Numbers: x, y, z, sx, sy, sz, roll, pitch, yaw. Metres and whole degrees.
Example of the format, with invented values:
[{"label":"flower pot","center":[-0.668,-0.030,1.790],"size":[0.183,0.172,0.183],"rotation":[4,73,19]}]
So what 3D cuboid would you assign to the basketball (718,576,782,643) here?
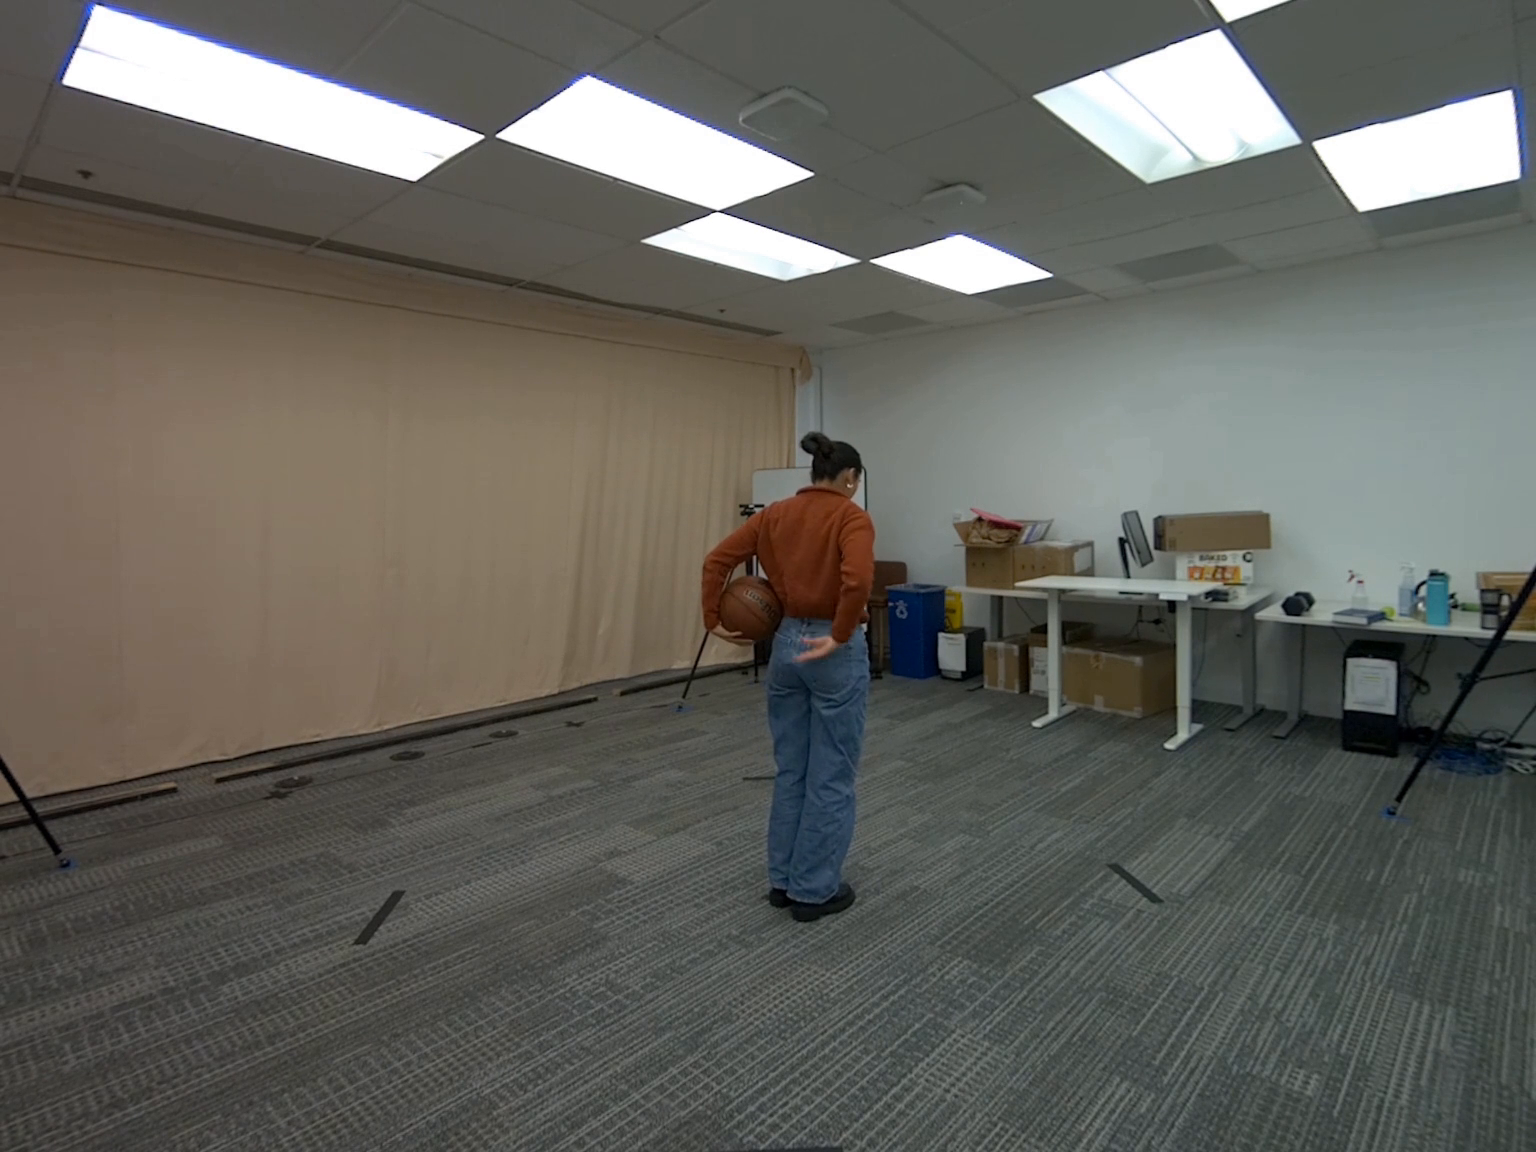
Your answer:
[{"label":"basketball","center":[-0.053,0.115,2.997],"size":[0.236,0.235,0.237],"rotation":[-1,4,-2]}]
